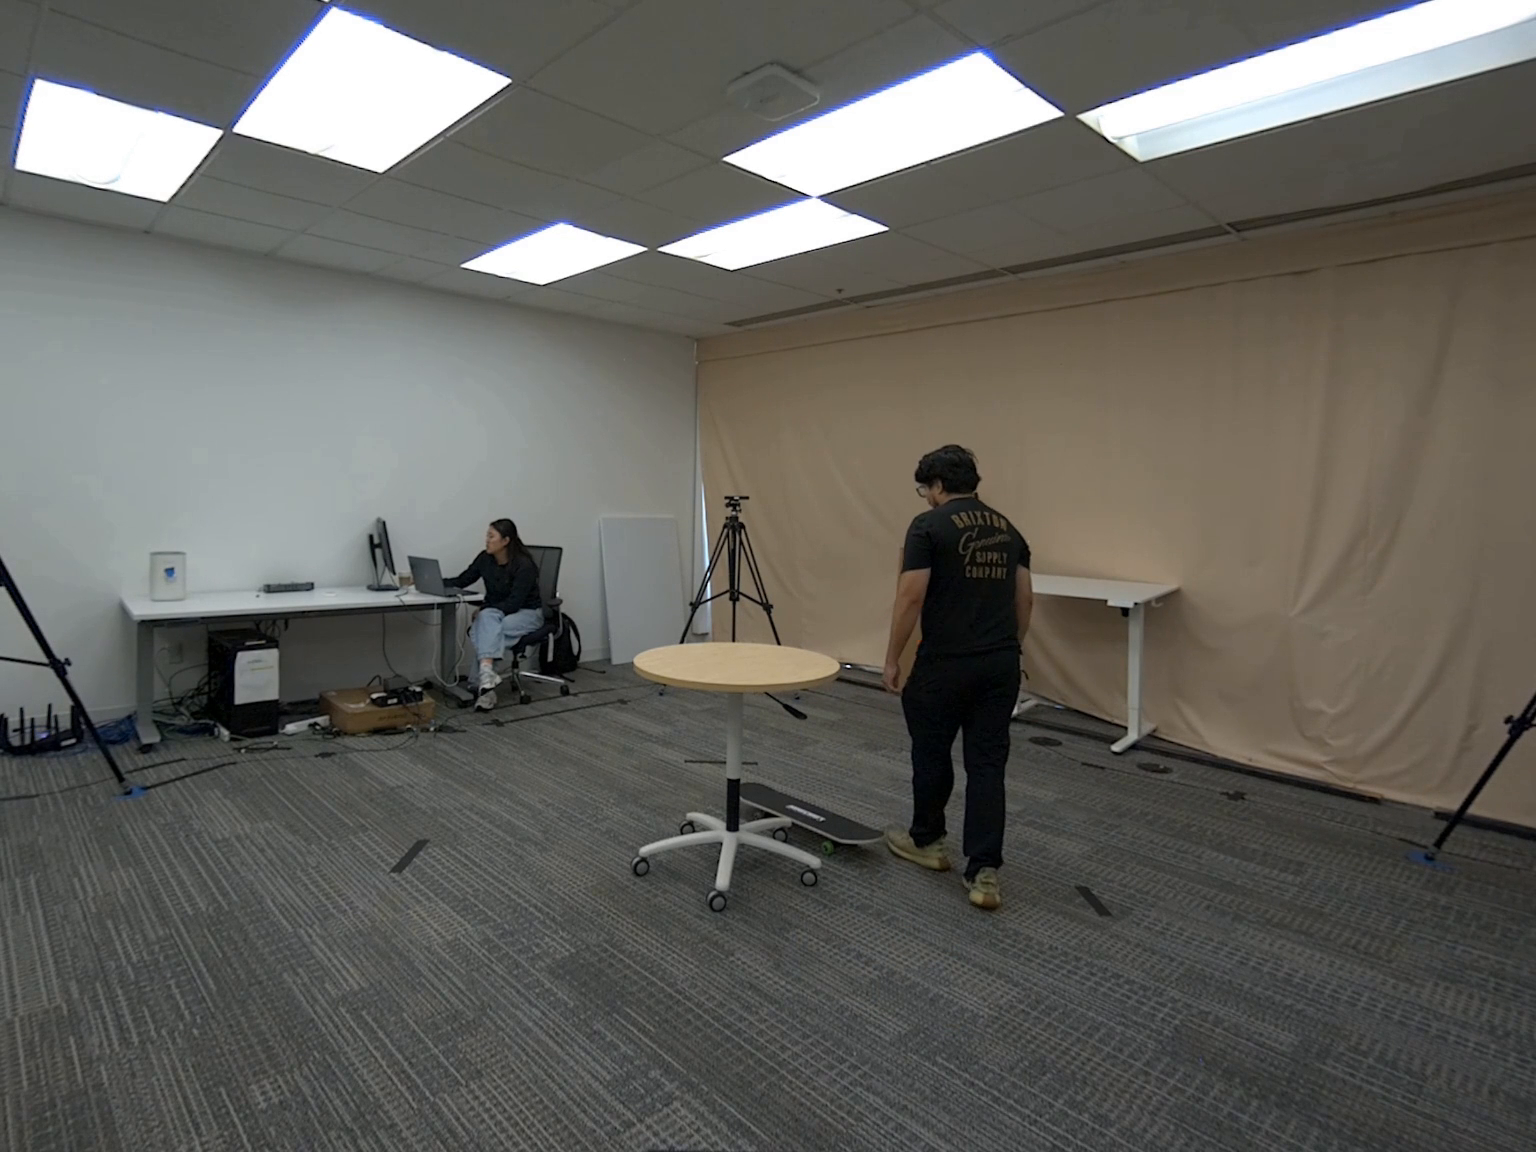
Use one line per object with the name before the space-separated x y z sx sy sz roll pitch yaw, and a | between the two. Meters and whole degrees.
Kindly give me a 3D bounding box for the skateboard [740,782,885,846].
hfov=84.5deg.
skateboard | 0.149 1.022 3.509 0.189 0.110 0.806 -2 6 -42
